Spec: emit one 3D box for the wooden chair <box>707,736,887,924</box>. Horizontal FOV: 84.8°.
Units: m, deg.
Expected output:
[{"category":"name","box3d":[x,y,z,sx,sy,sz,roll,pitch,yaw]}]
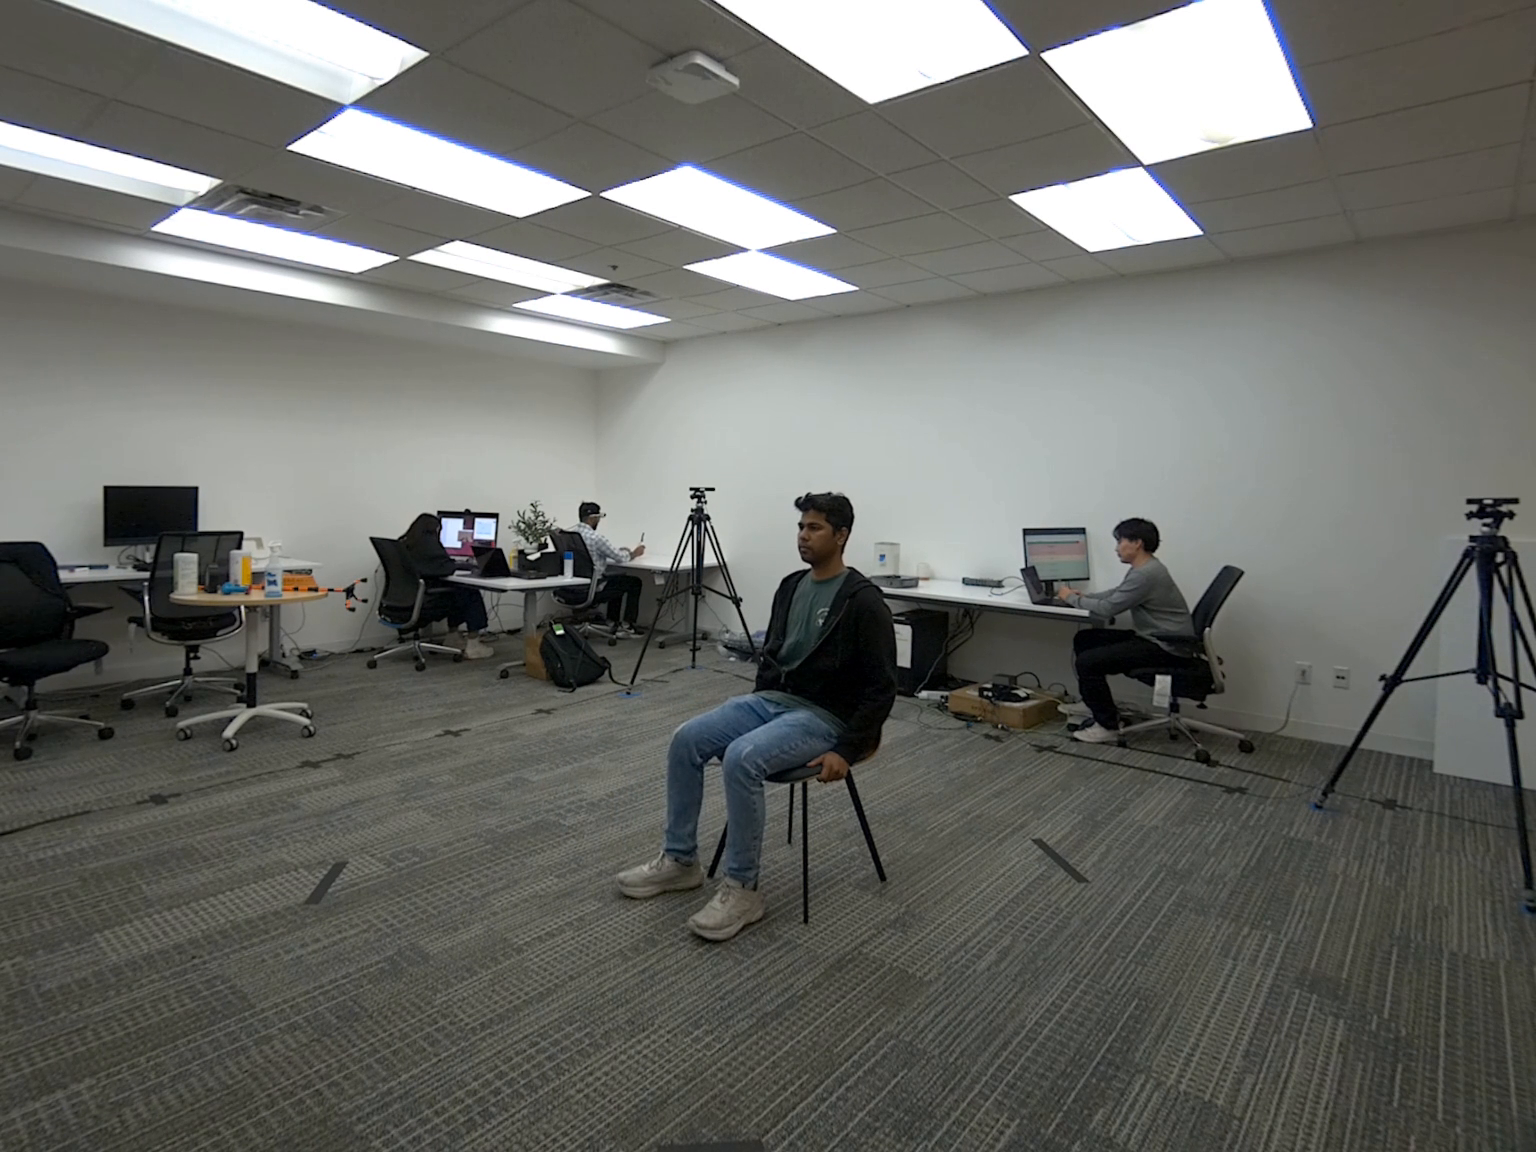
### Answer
[{"category":"wooden chair","box3d":[0.104,0.656,3.003,0.494,0.877,0.506,5,1,43]}]
